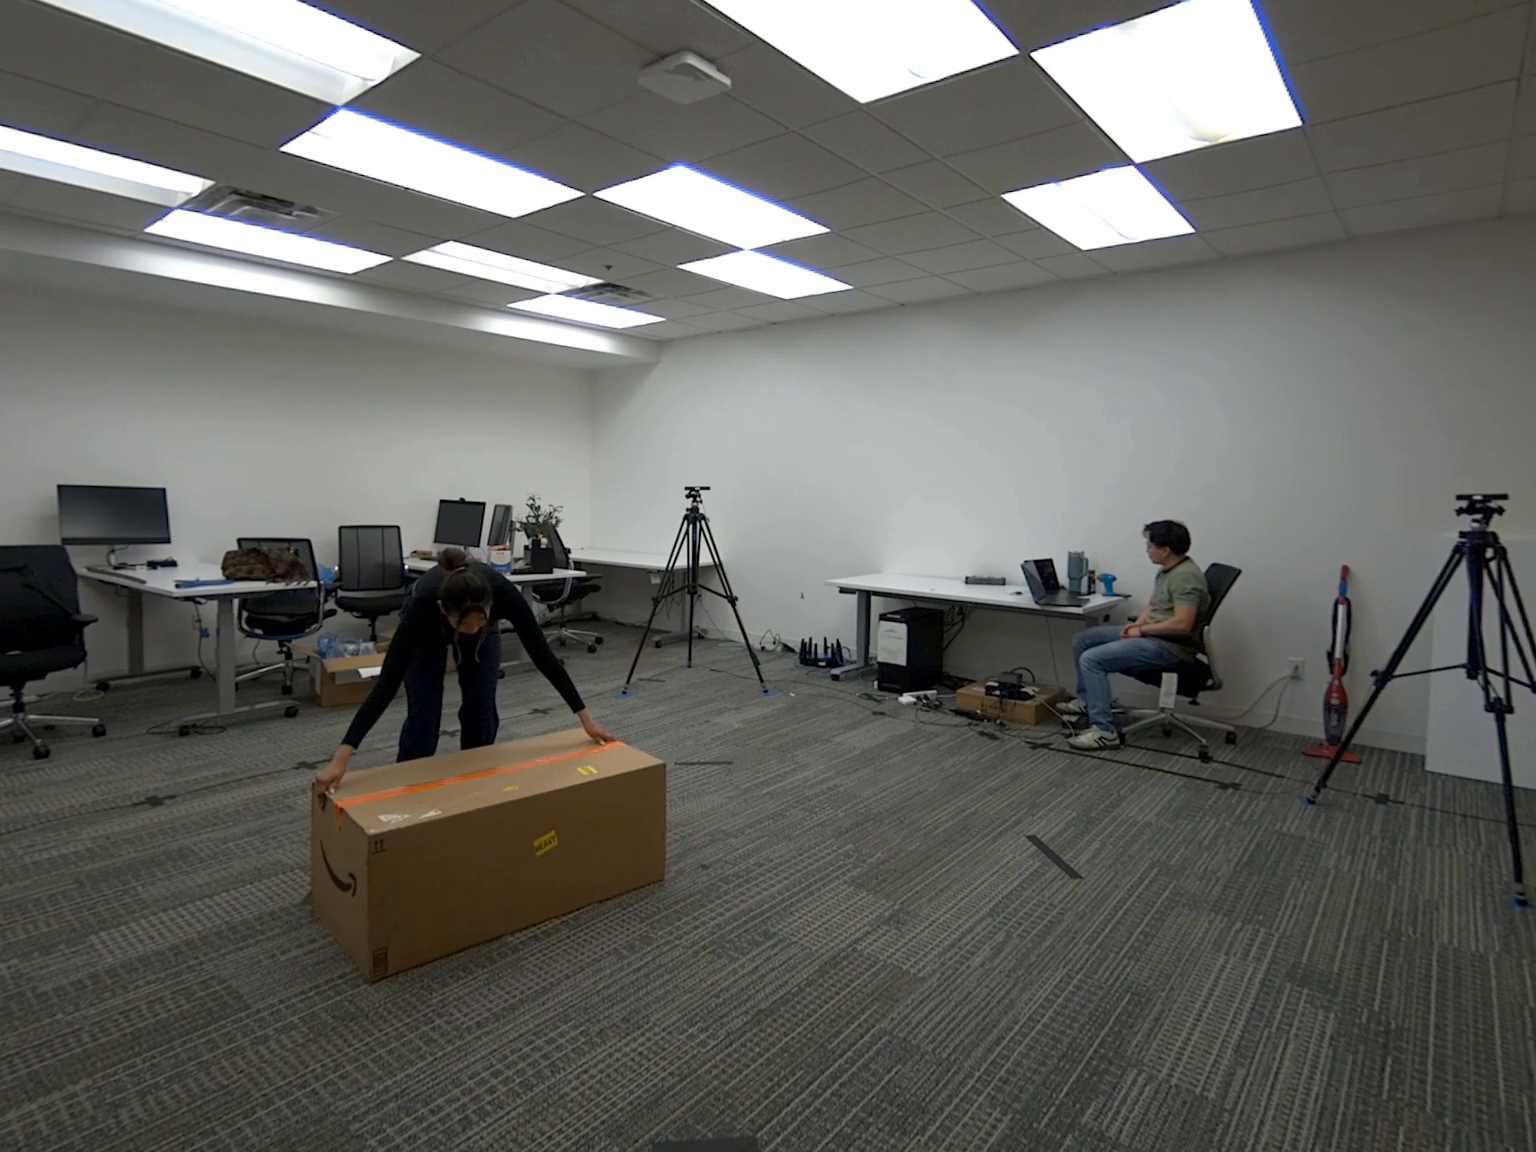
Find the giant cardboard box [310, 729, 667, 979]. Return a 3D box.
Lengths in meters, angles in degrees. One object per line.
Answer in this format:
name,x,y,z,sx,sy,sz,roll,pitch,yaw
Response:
giant cardboard box,-0.932,0.865,2.889,0.995,0.424,0.597,-4,7,-41
